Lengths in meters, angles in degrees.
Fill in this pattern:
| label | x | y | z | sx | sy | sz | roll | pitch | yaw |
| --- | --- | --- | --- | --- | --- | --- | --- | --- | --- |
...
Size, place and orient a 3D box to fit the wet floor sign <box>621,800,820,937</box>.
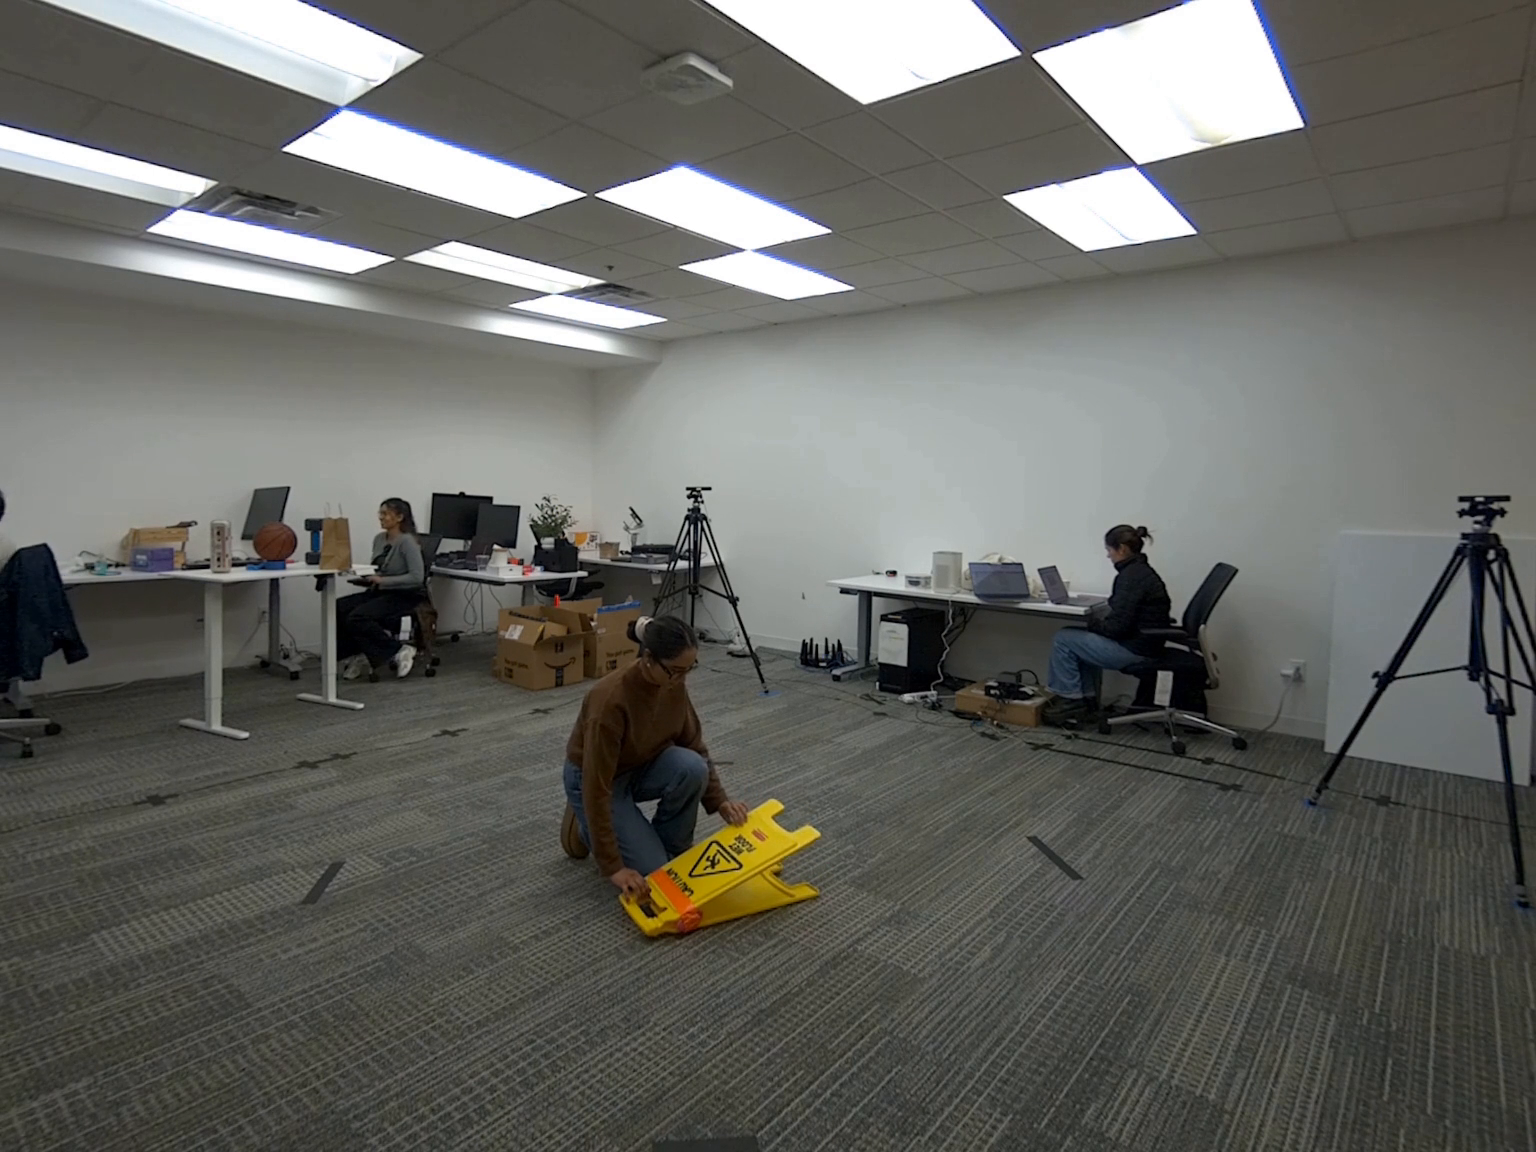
| label | x | y | z | sx | sy | sz | roll | pitch | yaw |
| --- | --- | --- | --- | --- | --- | --- | --- | --- | --- |
| wet floor sign | -0.168 | 1.004 | 2.819 | 0.631 | 0.286 | 0.293 | -12 | 17 | -33 |
